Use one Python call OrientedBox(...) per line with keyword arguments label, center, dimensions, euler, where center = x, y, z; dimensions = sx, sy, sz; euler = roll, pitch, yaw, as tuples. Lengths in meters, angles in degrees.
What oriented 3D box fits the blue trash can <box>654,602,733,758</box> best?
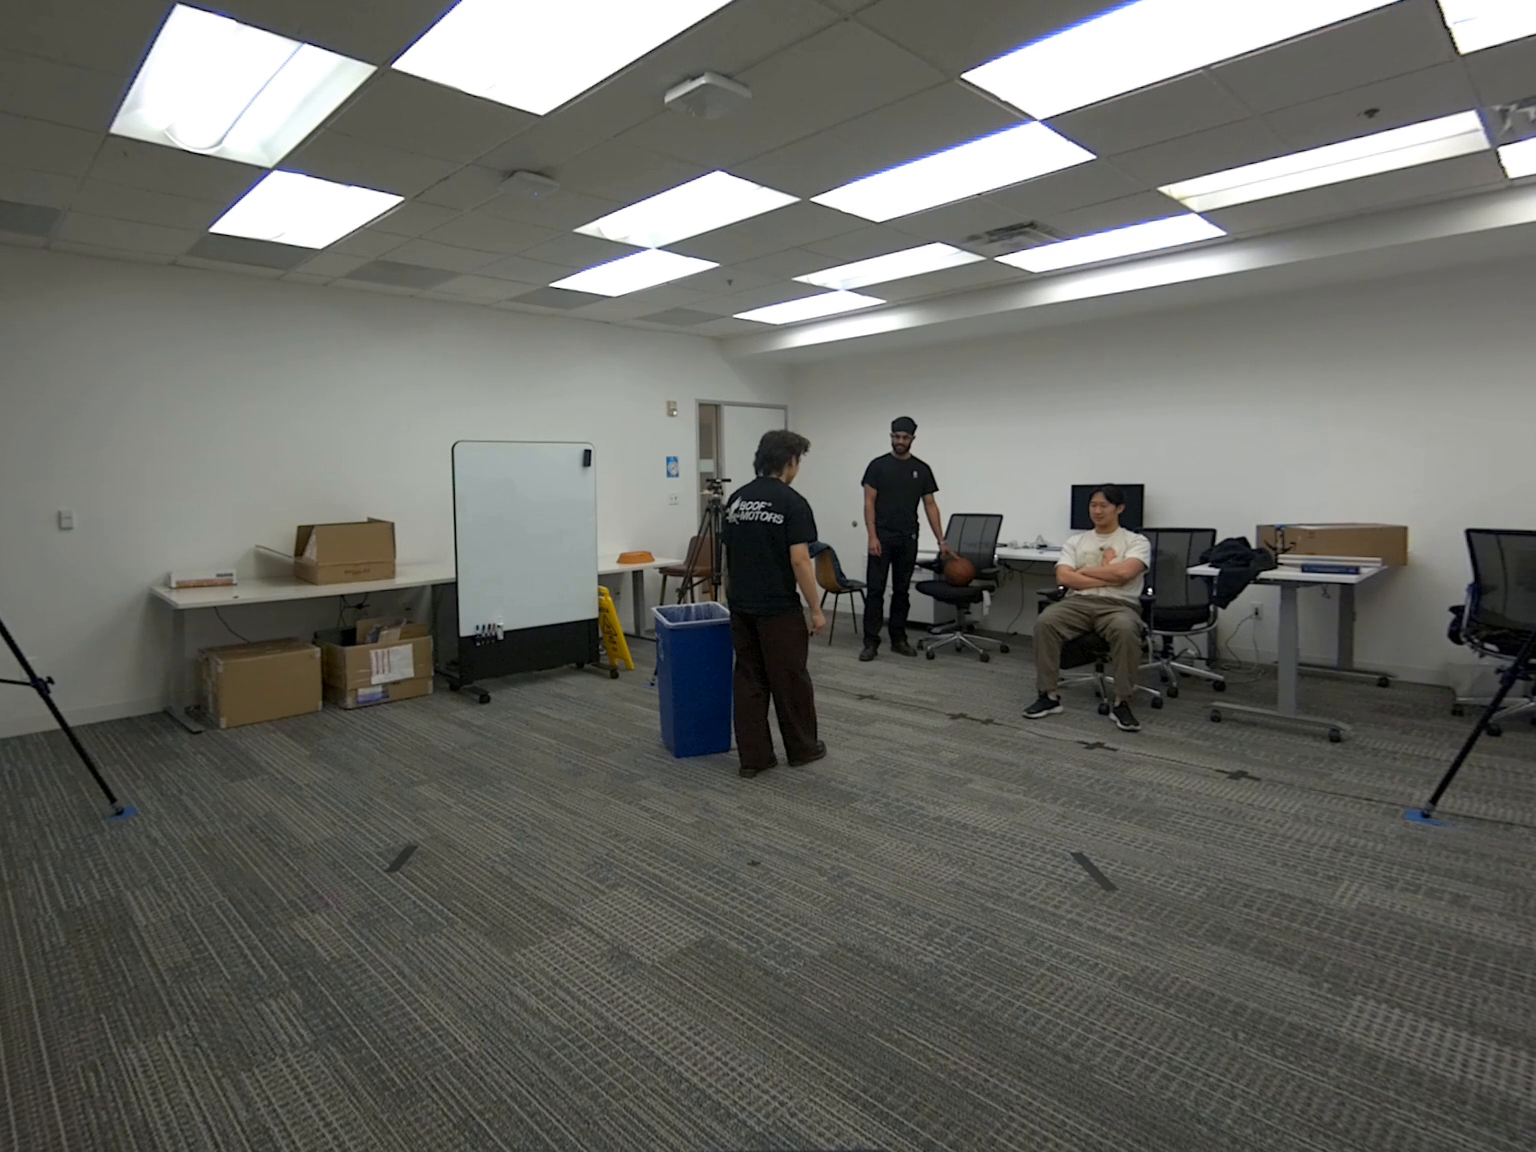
OrientedBox(label="blue trash can", center=(-0.377, 0.535, 4.434), dimensions=(0.372, 0.708, 0.383), euler=(-4, 9, -20))
